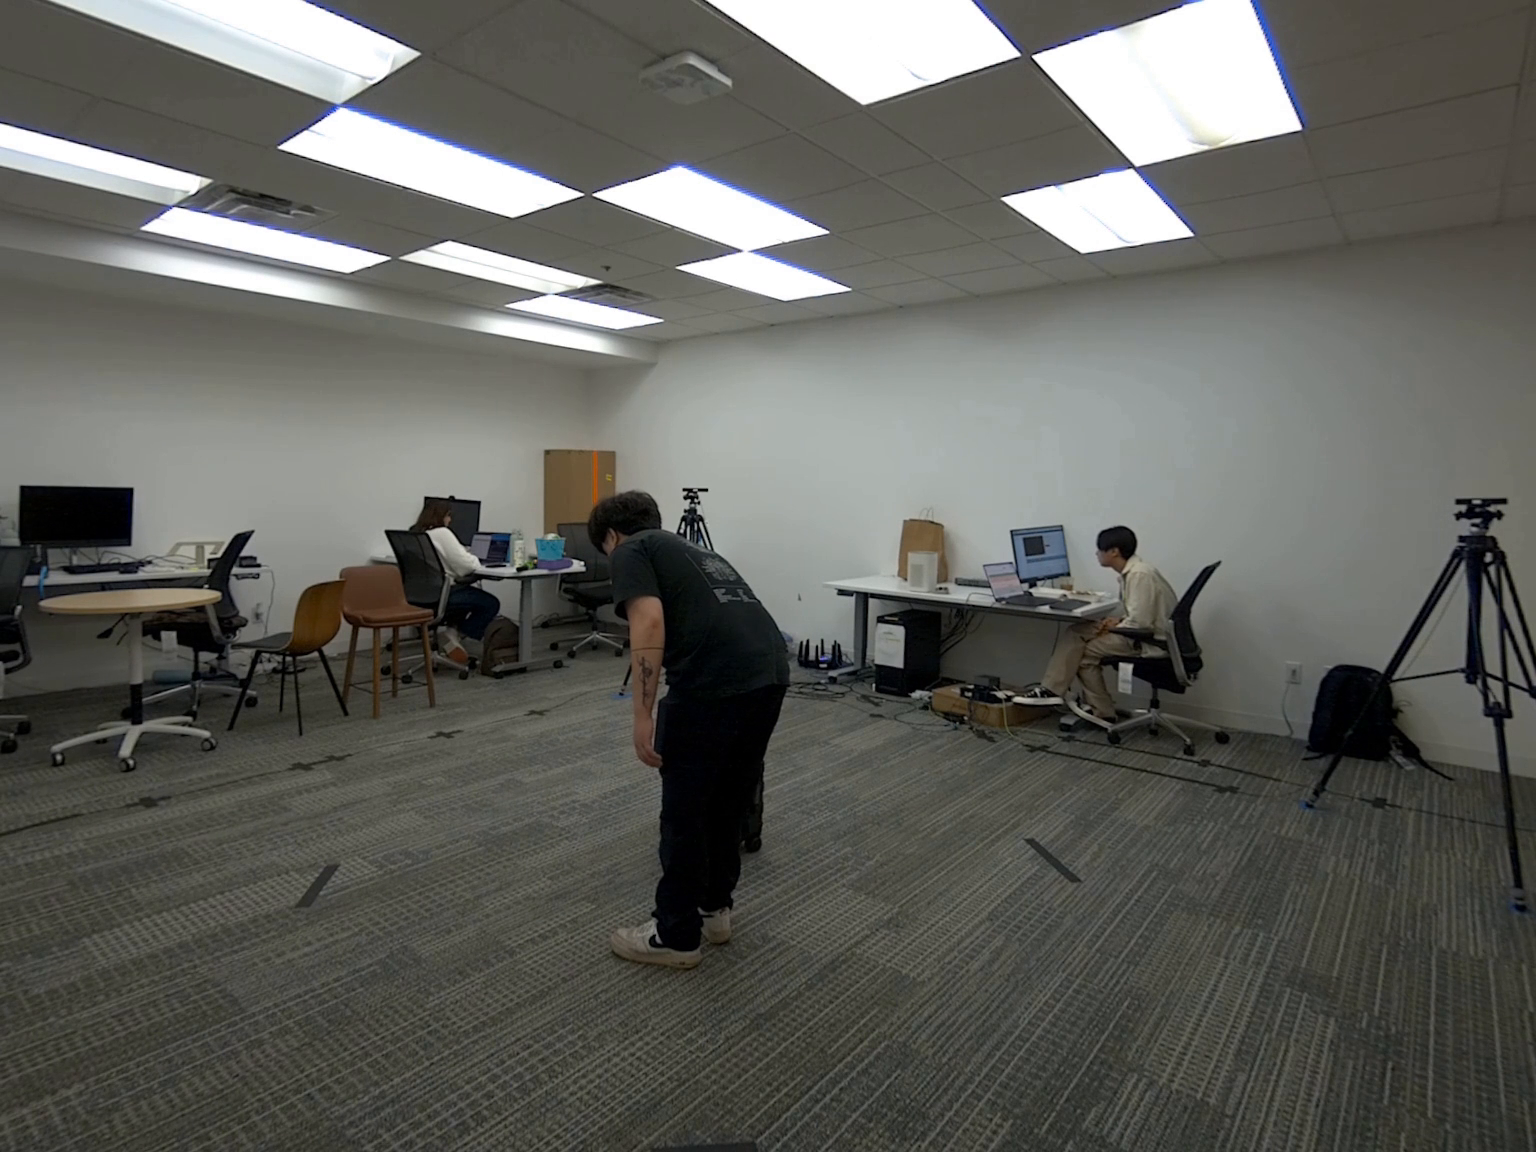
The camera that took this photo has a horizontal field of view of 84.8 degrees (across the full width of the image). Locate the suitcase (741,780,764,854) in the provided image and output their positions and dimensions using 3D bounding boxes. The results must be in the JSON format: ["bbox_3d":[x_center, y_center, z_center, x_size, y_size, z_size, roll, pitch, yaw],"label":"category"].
[{"bbox_3d":[-0.215,0.768,3.315,0.240,0.549,0.388,1,3,-45],"label":"suitcase"}]
